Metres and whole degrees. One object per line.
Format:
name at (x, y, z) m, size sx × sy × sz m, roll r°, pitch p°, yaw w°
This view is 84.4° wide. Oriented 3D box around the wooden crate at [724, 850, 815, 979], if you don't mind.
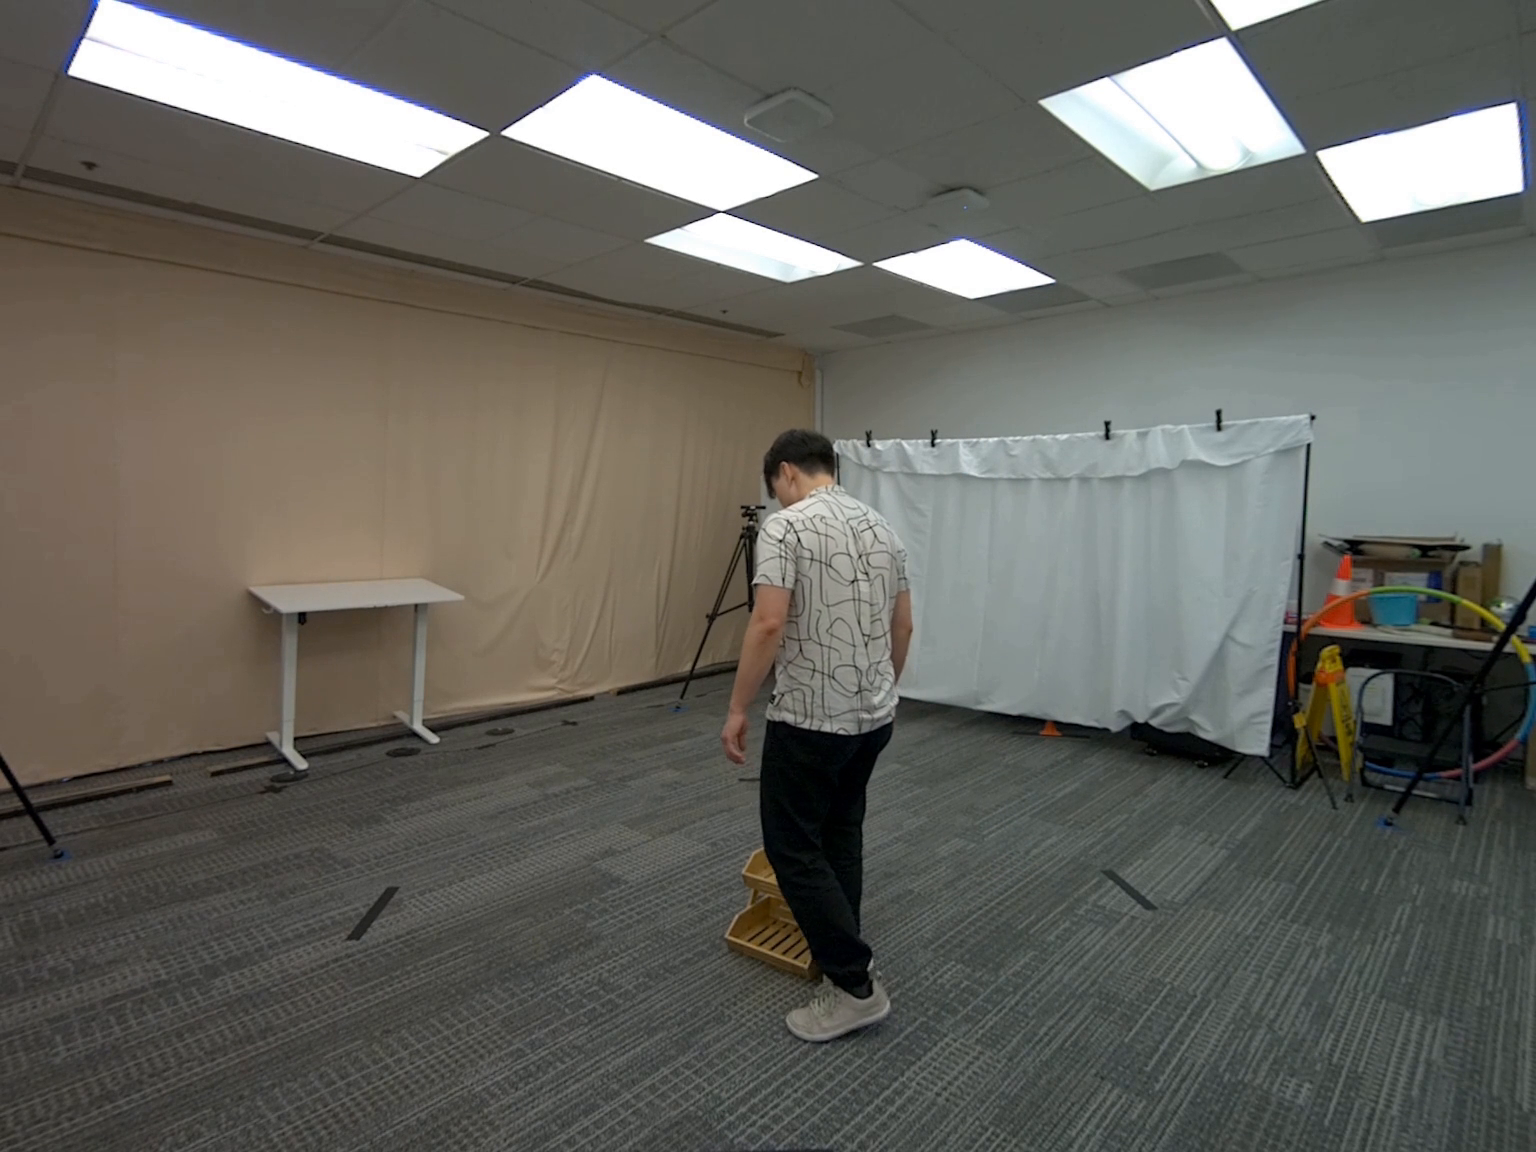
wooden crate at (0.078, 1.038, 2.650) m, size 0.335 × 0.273 × 0.293 m, roll 3°, pitch 4°, yaw 35°
